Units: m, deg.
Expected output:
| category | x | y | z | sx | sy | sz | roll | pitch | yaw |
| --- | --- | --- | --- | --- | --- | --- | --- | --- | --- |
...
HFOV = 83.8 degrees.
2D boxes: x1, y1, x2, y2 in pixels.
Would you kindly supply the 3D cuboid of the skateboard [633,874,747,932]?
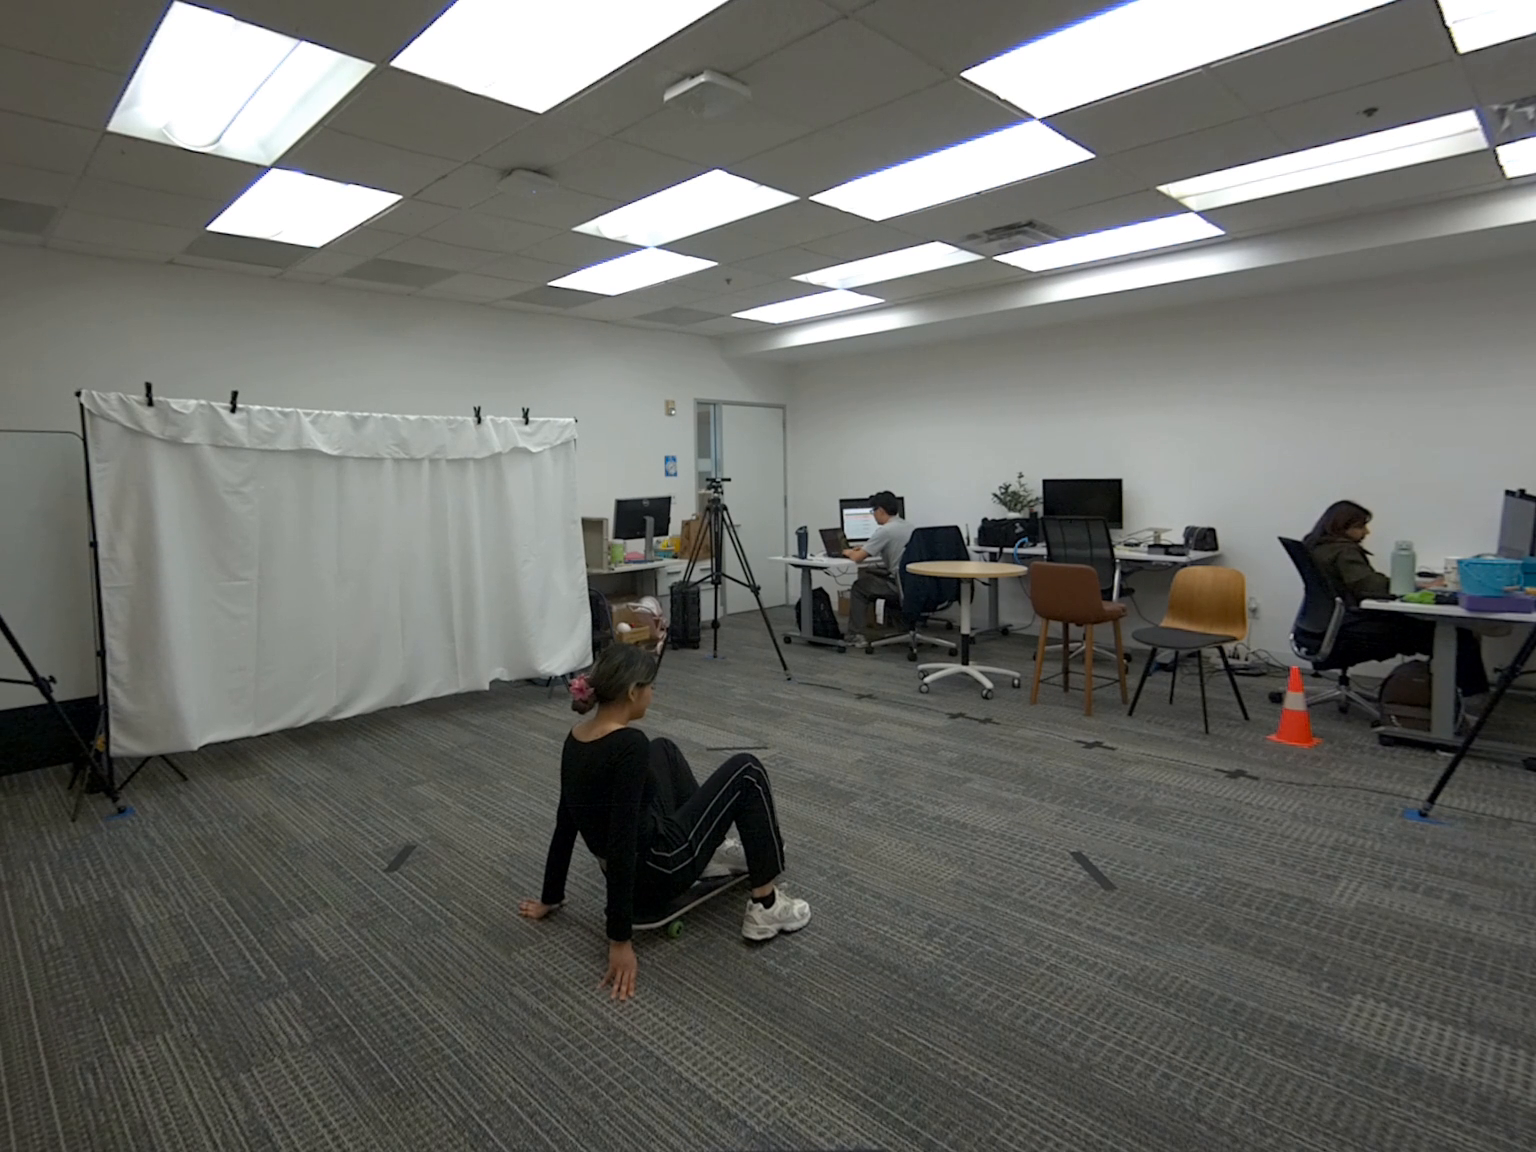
| category | x | y | z | sx | sy | sz | roll | pitch | yaw |
| --- | --- | --- | --- | --- | --- | --- | --- | --- | --- |
| skateboard | -0.198 | 1.026 | 2.809 | 0.199 | 0.110 | 0.766 | 4 | 9 | 38 |
